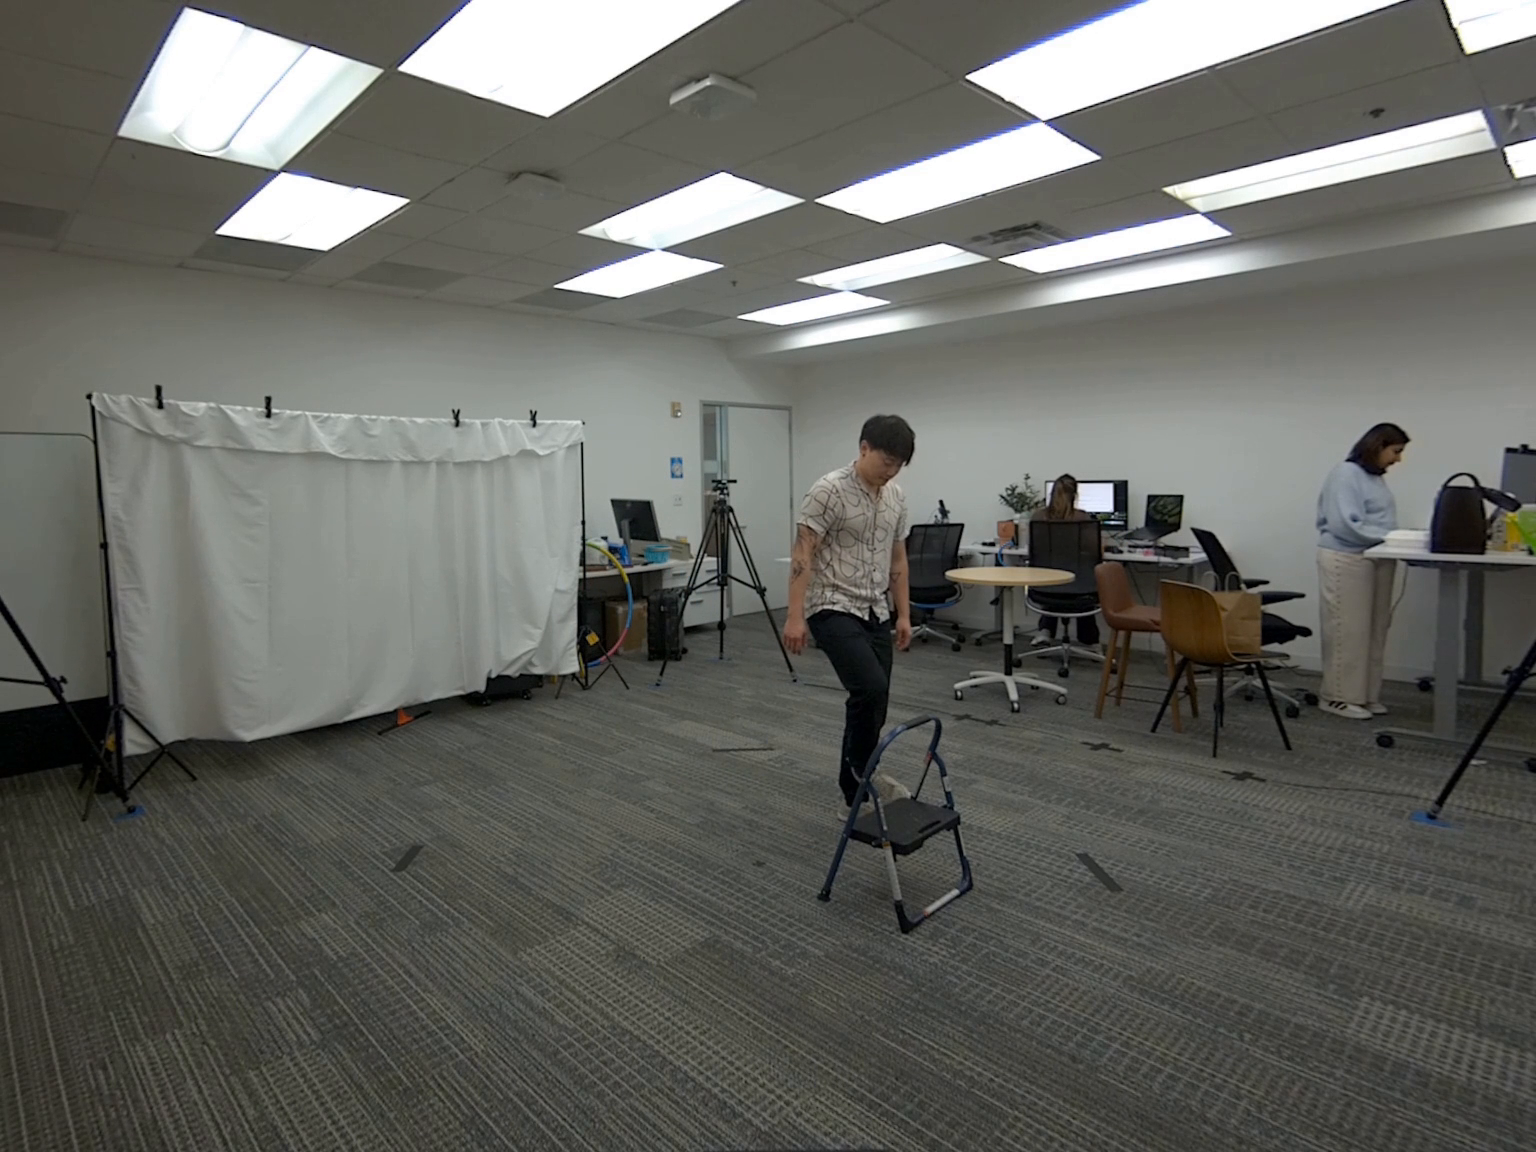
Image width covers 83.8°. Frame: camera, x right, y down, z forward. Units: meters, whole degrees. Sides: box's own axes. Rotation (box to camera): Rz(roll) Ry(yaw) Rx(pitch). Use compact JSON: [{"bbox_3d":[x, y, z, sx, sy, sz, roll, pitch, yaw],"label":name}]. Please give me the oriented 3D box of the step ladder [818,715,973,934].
[{"bbox_3d":[0.430,0.767,2.854,0.360,0.604,0.419,3,6,42],"label":"step ladder"}]
